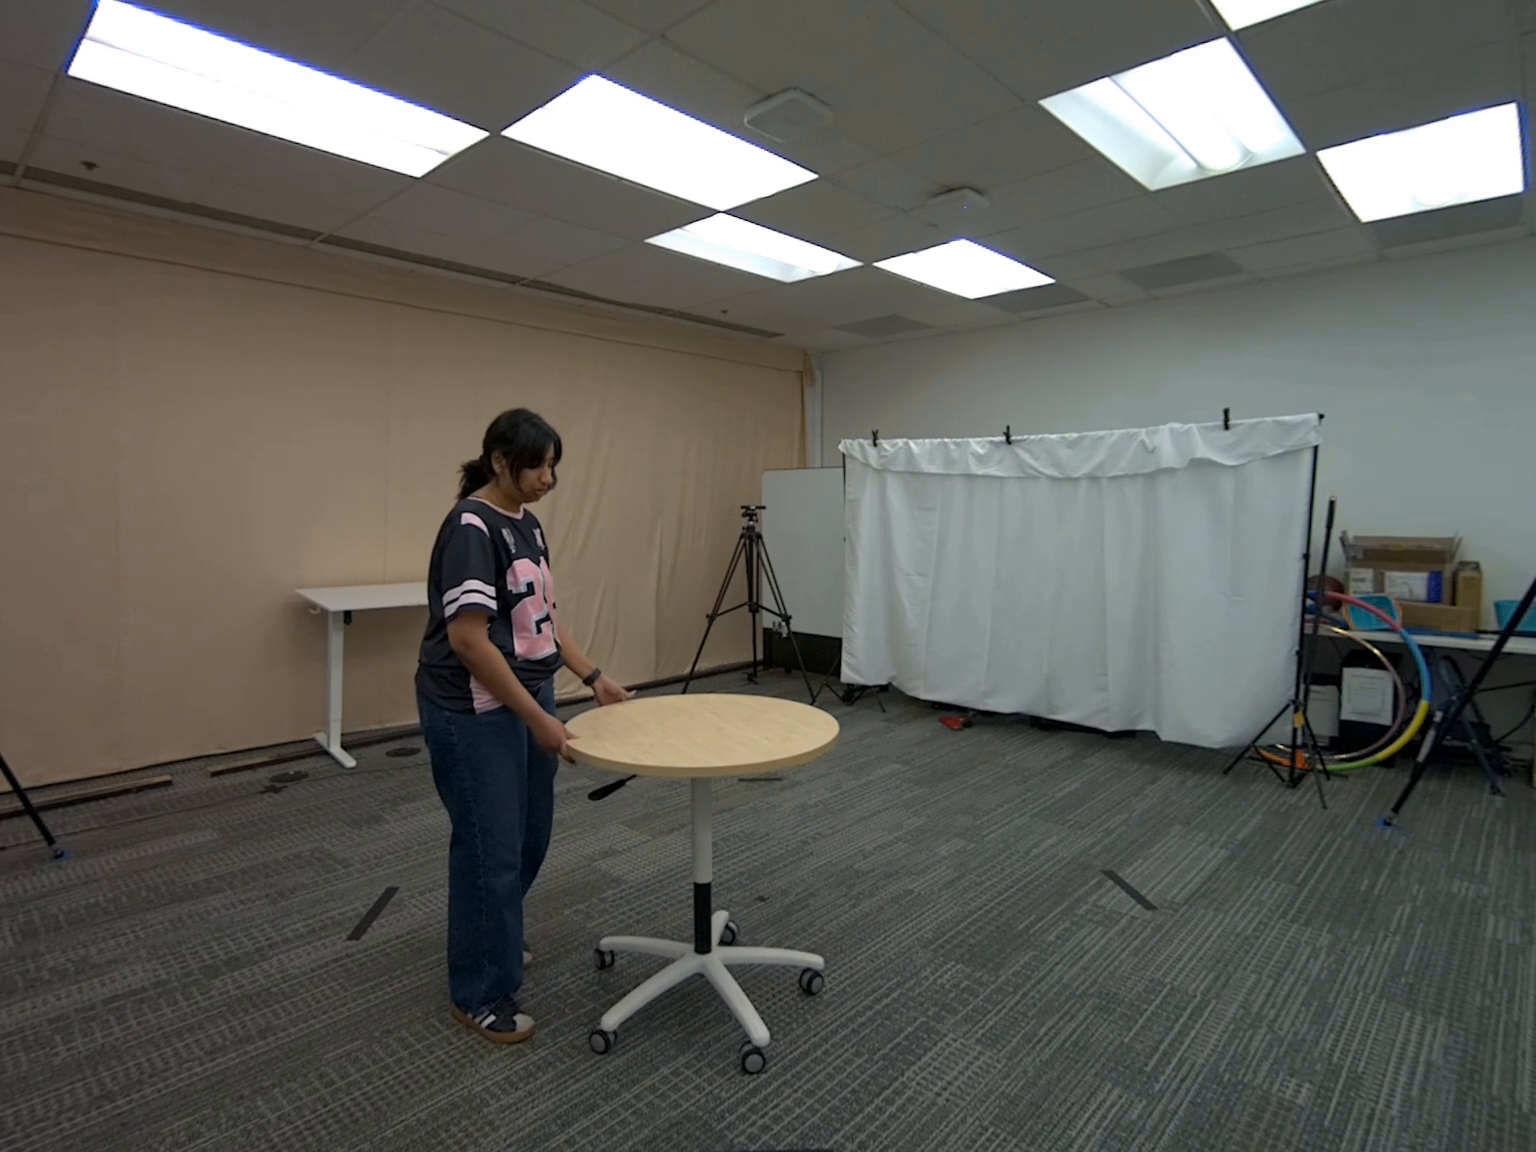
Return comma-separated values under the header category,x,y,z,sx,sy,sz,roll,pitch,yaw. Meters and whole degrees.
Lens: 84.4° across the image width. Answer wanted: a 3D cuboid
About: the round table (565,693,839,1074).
category,x,y,z,sx,sy,sz,roll,pitch,yaw
round table,-0.169,0.808,2.356,0.784,0.785,0.788,-1,4,-2
